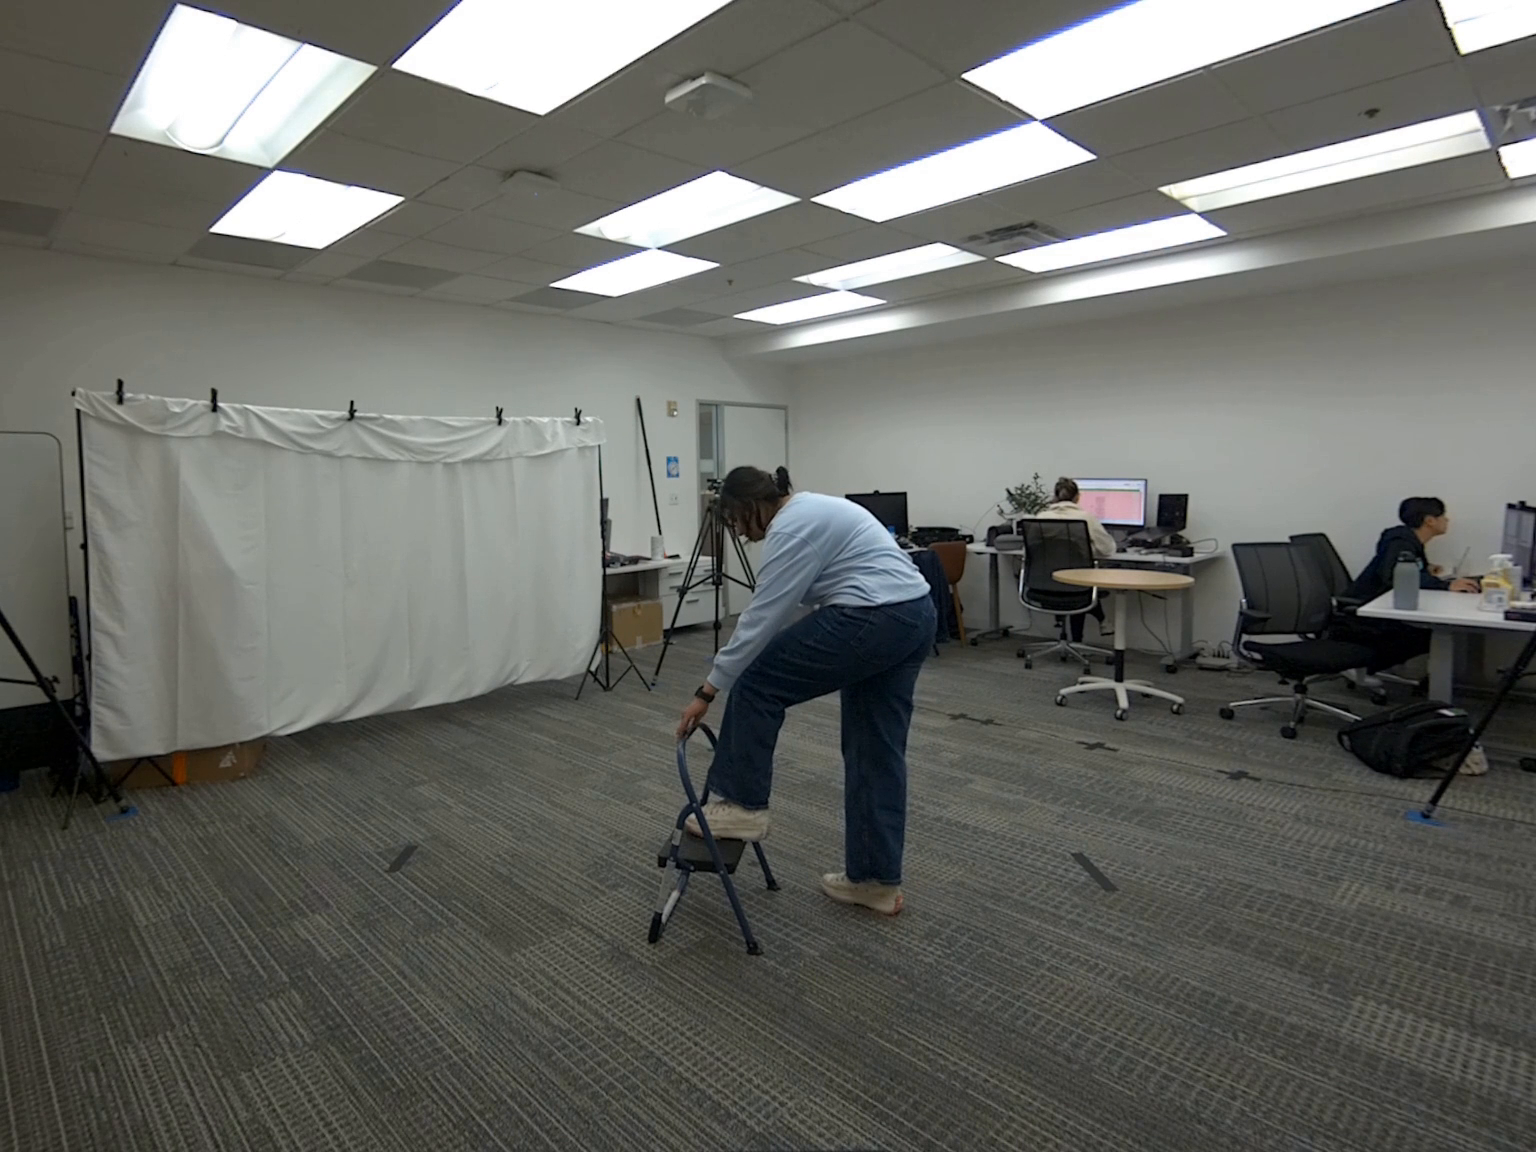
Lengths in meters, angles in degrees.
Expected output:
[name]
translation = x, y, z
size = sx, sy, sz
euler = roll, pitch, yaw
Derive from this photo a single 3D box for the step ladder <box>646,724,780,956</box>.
[step ladder]
translation = -0.163, 0.791, 2.729
size = 0.353, 0.603, 0.428
euler = 0, 5, 10
